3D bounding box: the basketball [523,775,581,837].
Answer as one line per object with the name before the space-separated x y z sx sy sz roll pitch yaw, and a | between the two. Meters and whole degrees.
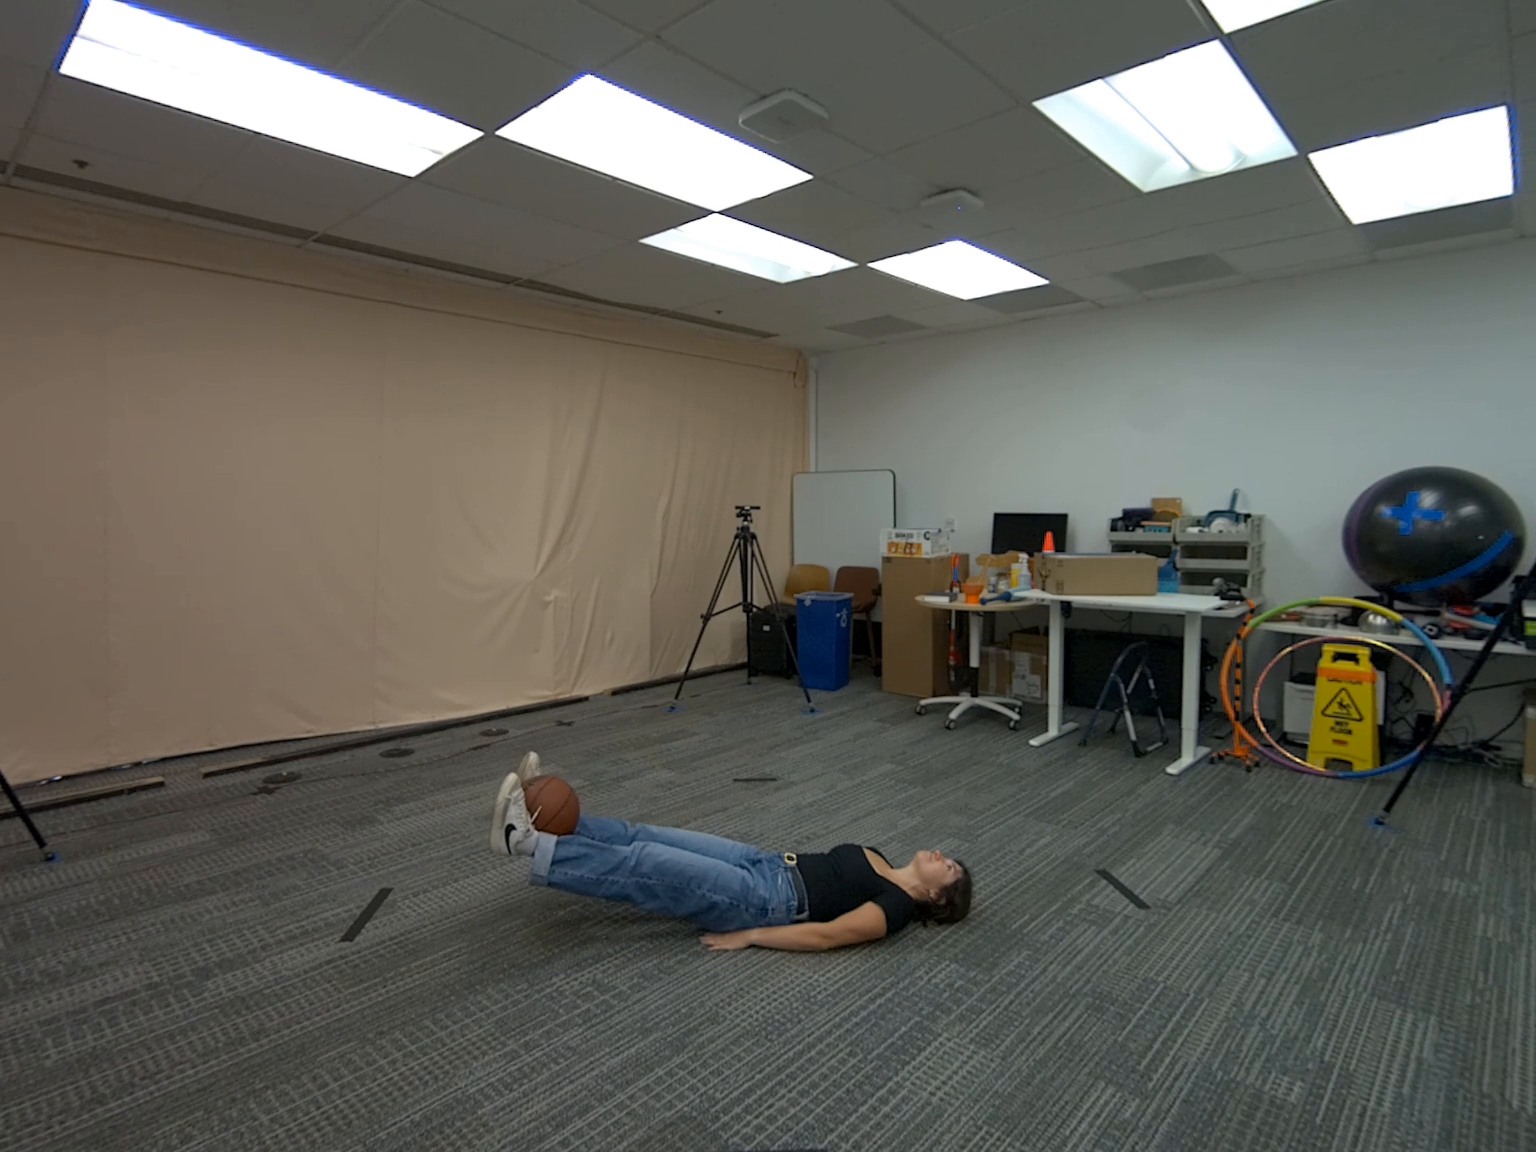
basketball | -0.741 0.779 2.782 0.236 0.235 0.237 0 4 -2
